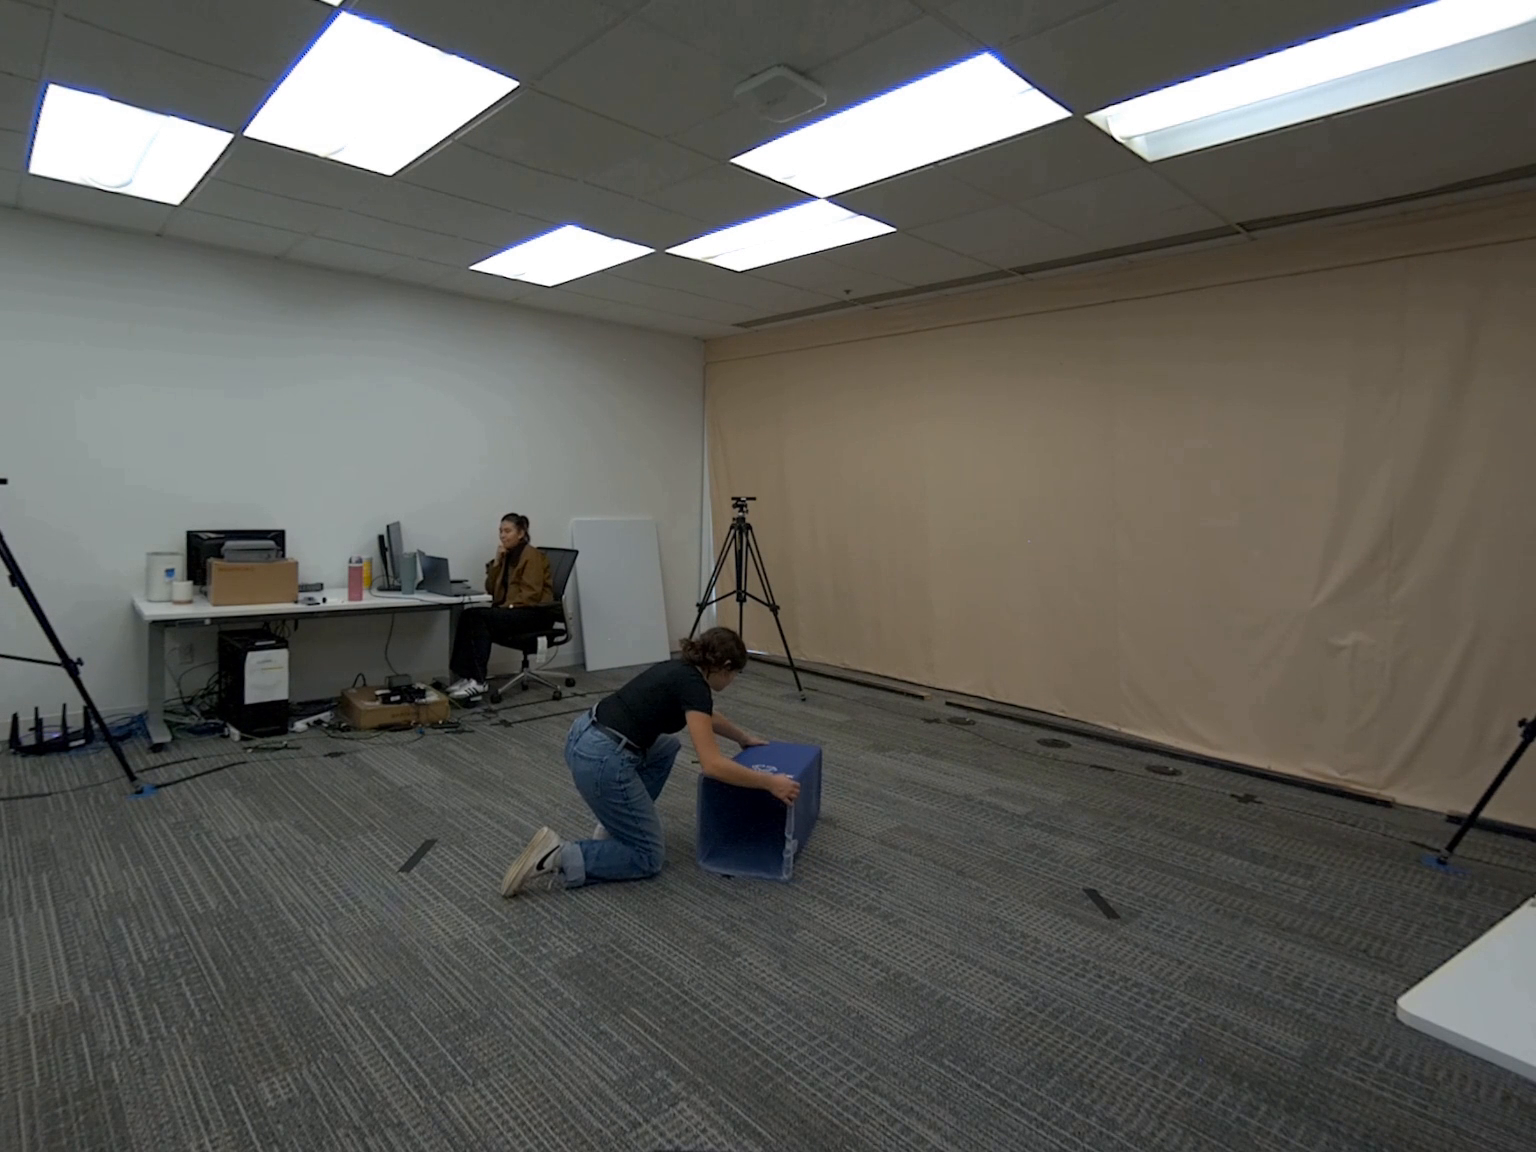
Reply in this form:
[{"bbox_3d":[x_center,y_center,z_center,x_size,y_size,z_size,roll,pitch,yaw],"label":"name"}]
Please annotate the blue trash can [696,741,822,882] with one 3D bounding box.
[{"bbox_3d":[-0.011,0.913,3.436,0.379,0.378,0.705,2,2,14],"label":"blue trash can"}]
